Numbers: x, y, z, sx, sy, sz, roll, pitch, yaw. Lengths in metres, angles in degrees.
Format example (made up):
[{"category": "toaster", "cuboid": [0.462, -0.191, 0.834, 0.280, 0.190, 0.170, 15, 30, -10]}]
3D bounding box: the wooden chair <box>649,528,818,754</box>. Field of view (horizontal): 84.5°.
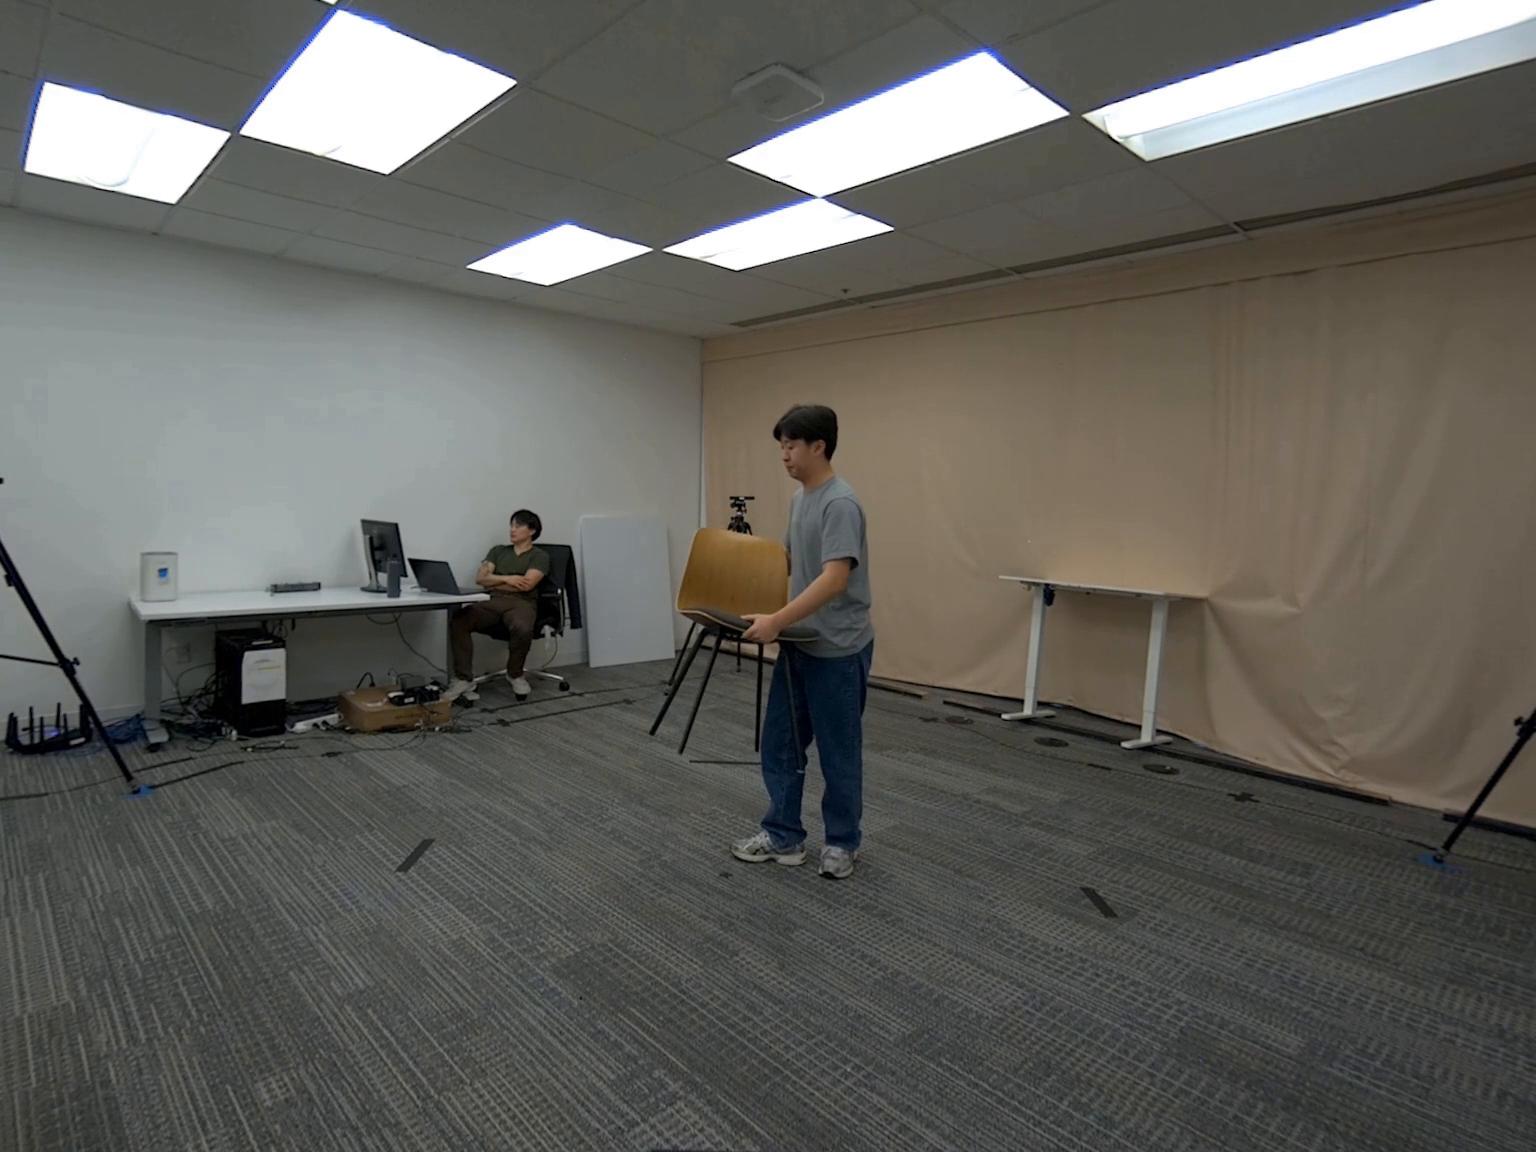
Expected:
[{"category": "wooden chair", "cuboid": [-0.102, 0.220, 3.077, 0.470, 0.883, 0.528, 13, -12, -18]}]
